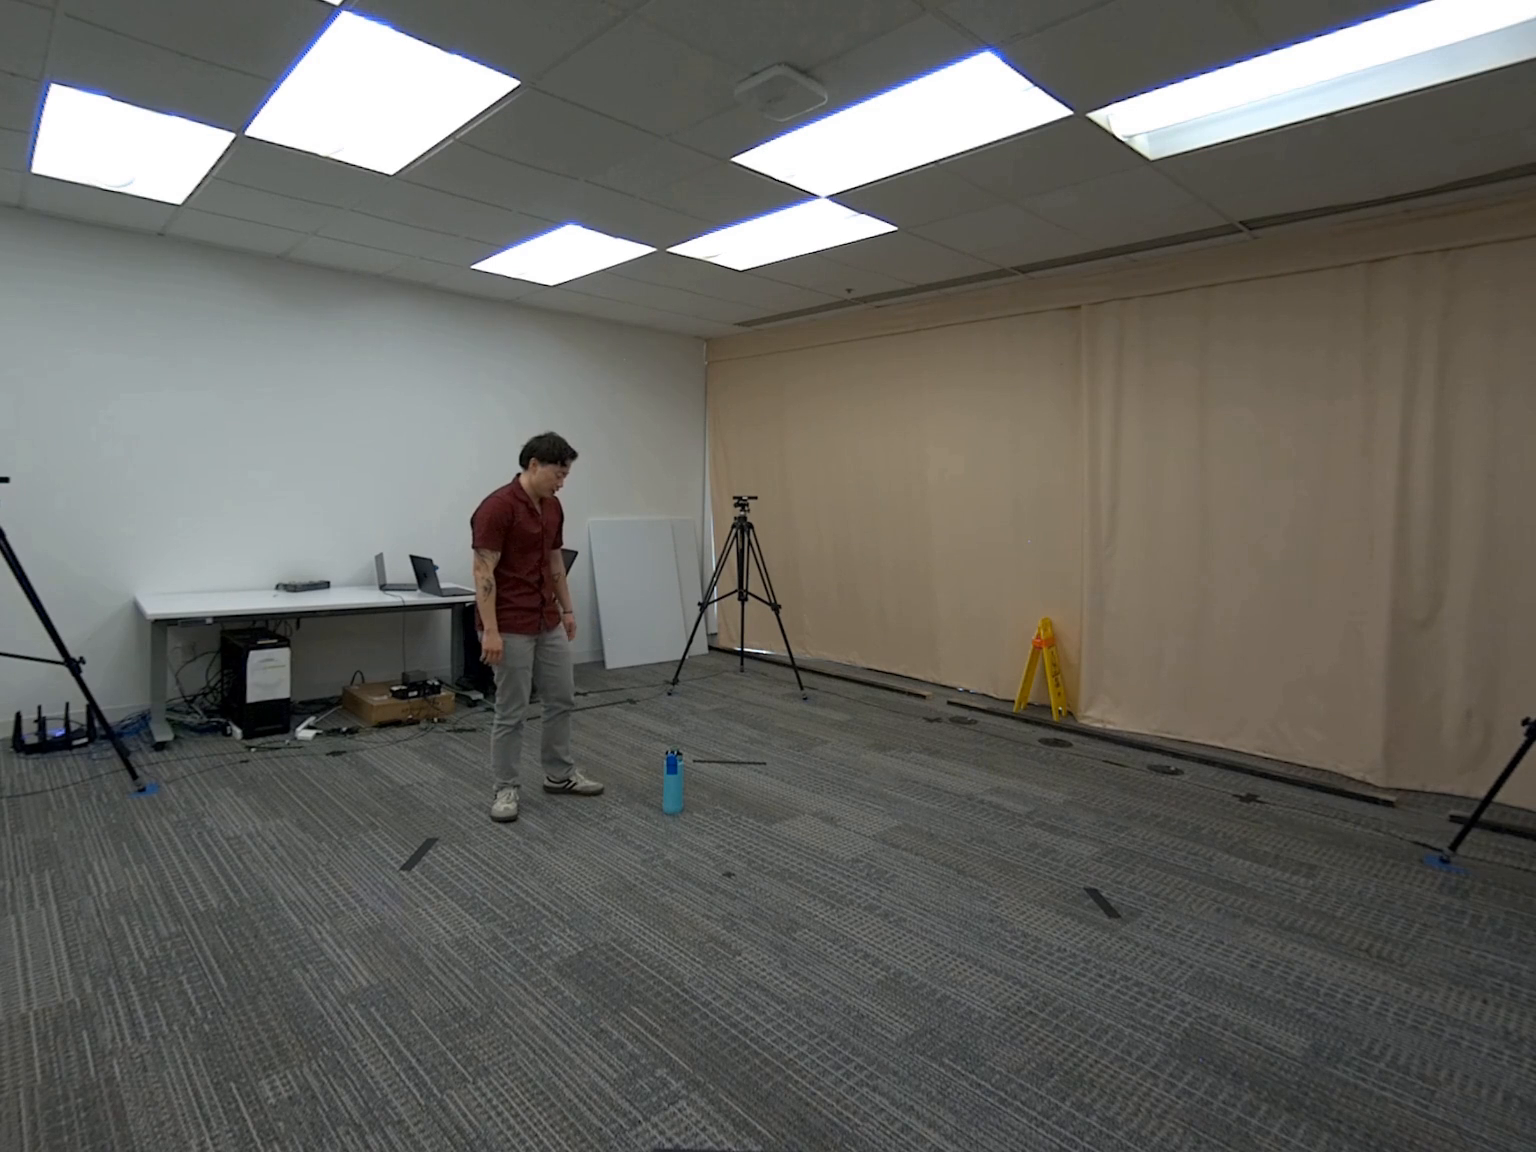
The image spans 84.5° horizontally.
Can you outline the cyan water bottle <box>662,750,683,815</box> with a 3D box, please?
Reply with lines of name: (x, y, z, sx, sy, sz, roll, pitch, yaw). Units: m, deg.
cyan water bottle: (-0.435, 0.902, 3.725, 0.092, 0.282, 0.093, 2, 6, -2)
